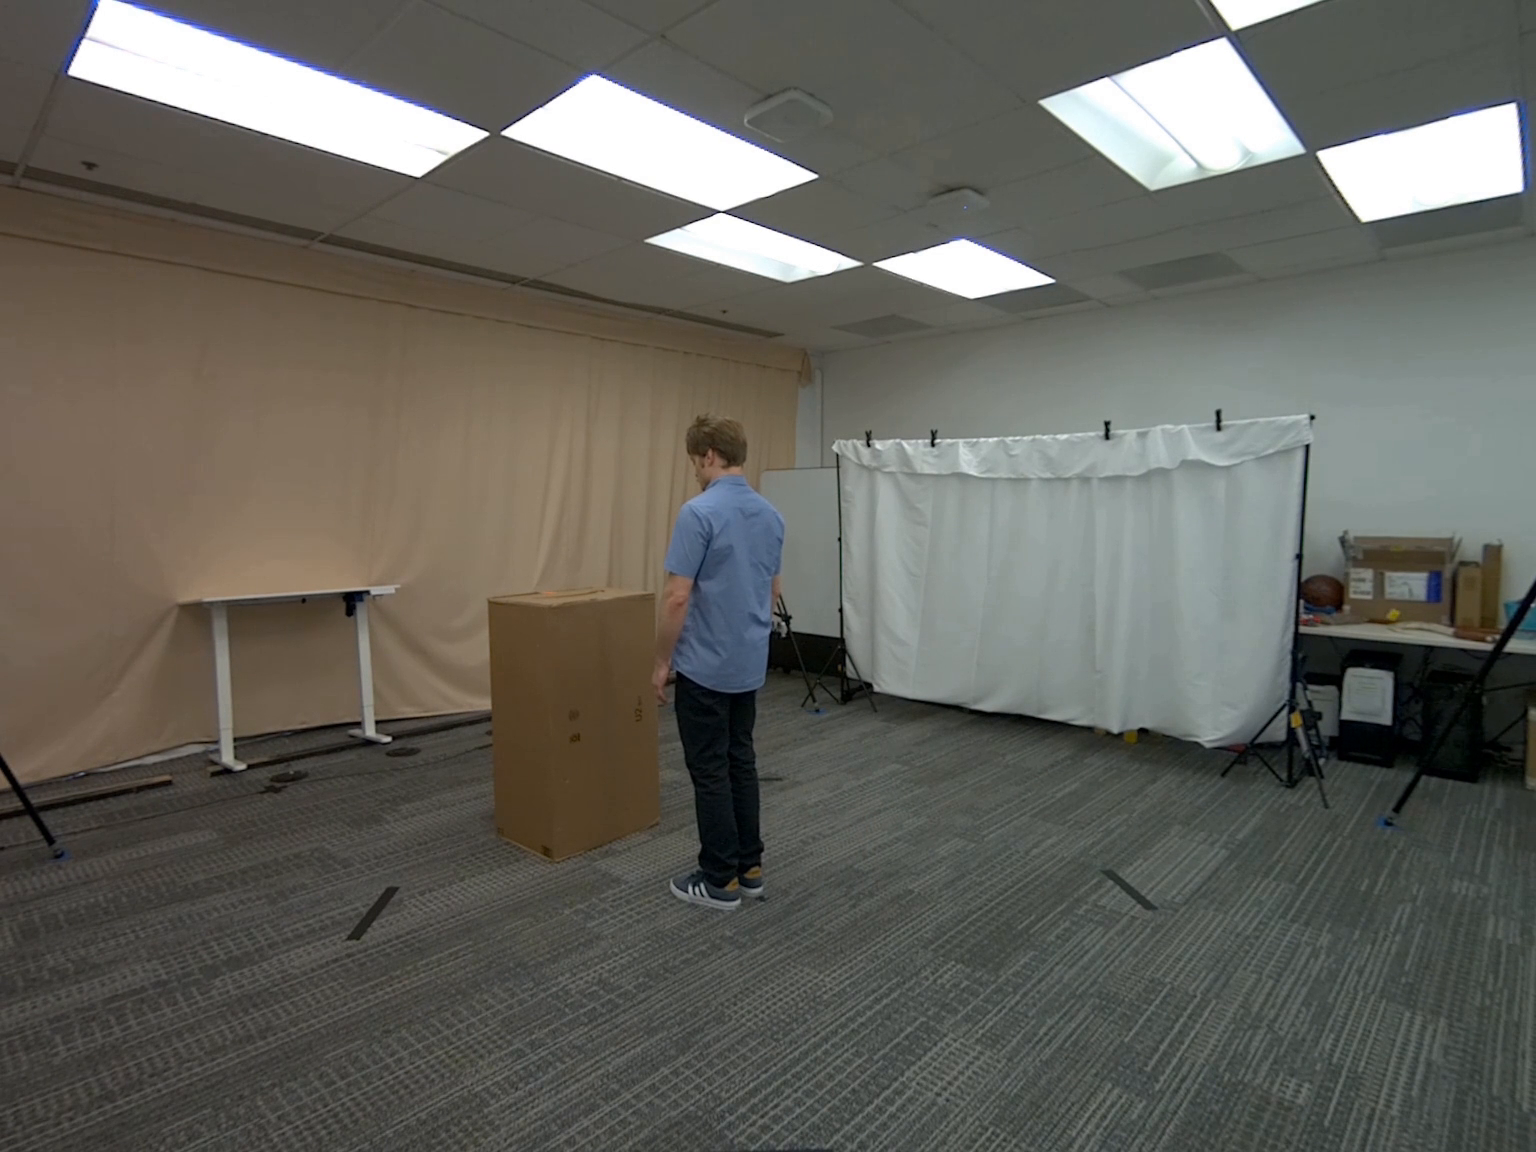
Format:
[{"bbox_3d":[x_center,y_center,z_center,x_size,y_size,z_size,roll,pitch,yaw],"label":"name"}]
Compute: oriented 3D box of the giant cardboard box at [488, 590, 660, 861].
[{"bbox_3d":[-0.827,0.589,3.616,0.440,1.023,0.560,3,5,42],"label":"giant cardboard box"}]
